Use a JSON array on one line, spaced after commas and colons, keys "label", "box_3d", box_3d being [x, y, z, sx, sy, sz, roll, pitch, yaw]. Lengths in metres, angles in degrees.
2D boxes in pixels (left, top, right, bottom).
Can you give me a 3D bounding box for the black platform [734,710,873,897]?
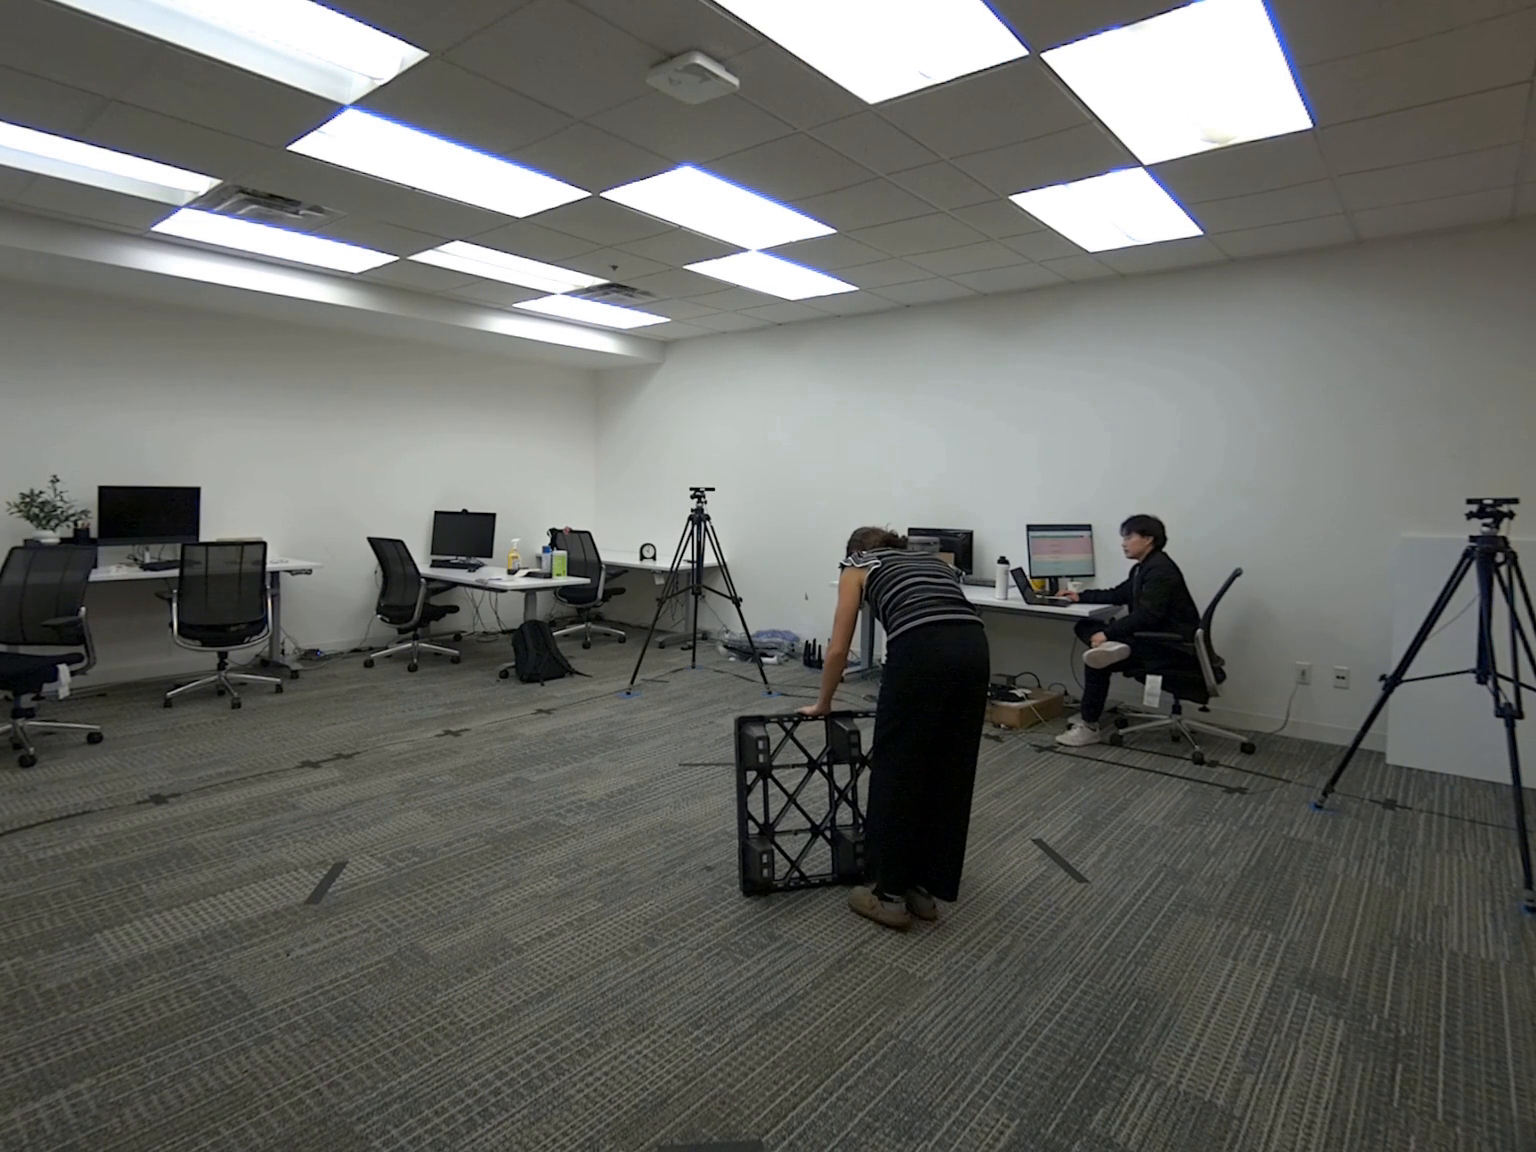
[{"label": "black platform", "box_3d": [0.277, 0.775, 3.020, 0.791, 0.610, 0.145, -1, -8, -17]}]
